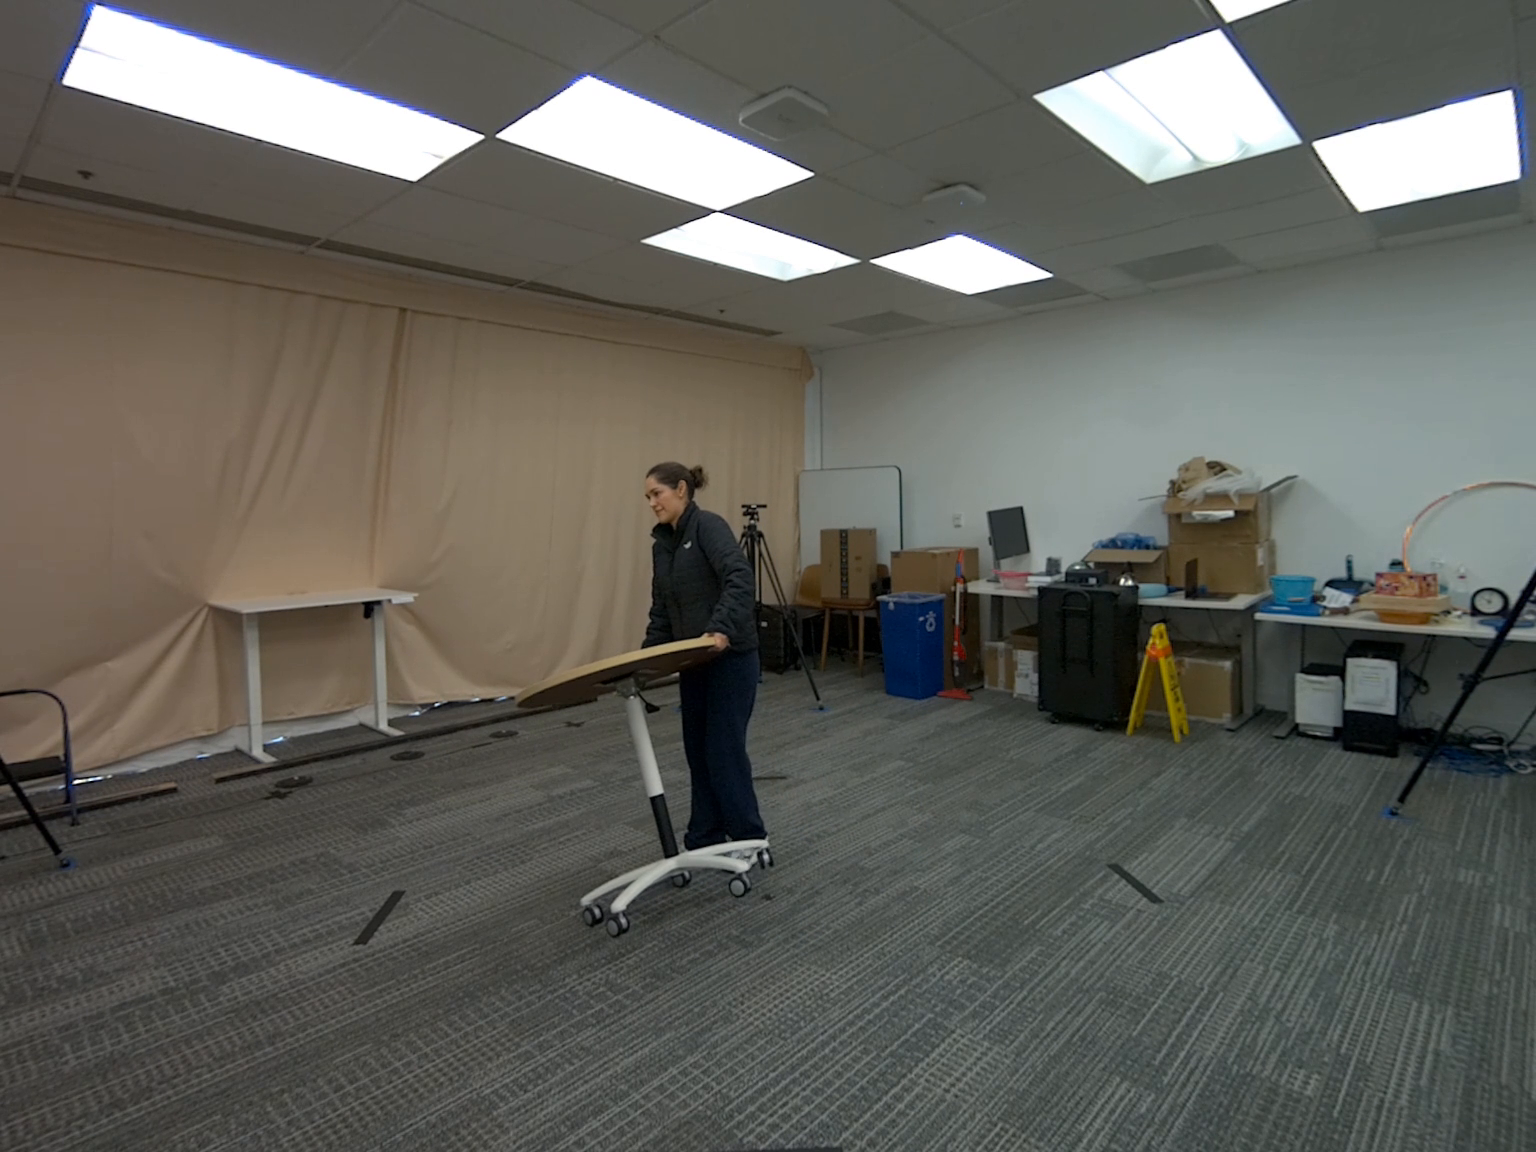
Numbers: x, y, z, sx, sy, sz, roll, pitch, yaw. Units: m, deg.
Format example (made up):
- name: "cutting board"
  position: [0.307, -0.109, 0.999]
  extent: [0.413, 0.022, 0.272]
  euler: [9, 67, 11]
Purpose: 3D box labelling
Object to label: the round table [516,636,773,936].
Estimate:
- name: "round table"
  position: [-0.380, 0.701, 2.874]
  extent: [0.782, 0.795, 0.780]
  euler: [-15, -11, -5]
